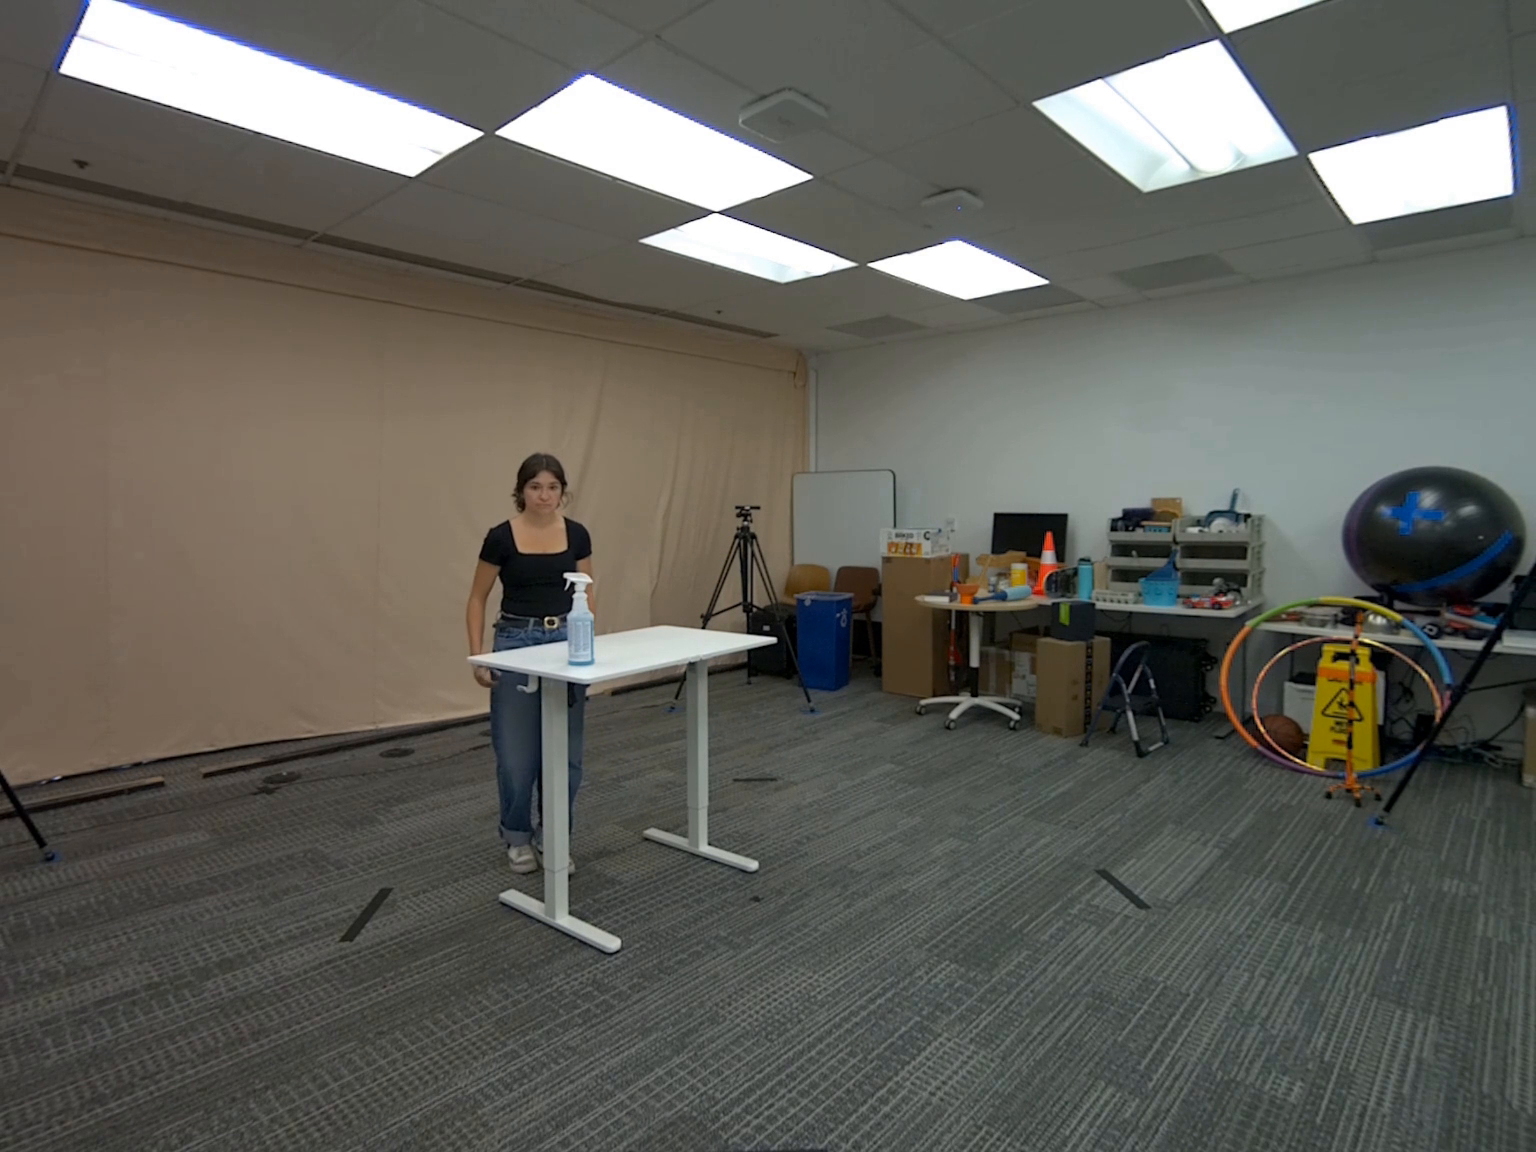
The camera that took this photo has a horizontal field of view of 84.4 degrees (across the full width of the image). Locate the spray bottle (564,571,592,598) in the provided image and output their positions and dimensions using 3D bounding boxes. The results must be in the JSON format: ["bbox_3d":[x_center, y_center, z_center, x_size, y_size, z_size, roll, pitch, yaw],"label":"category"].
[{"bbox_3d":[-0.609,0.146,2.712,0.092,0.296,0.085,0,5,20],"label":"spray bottle"}]
